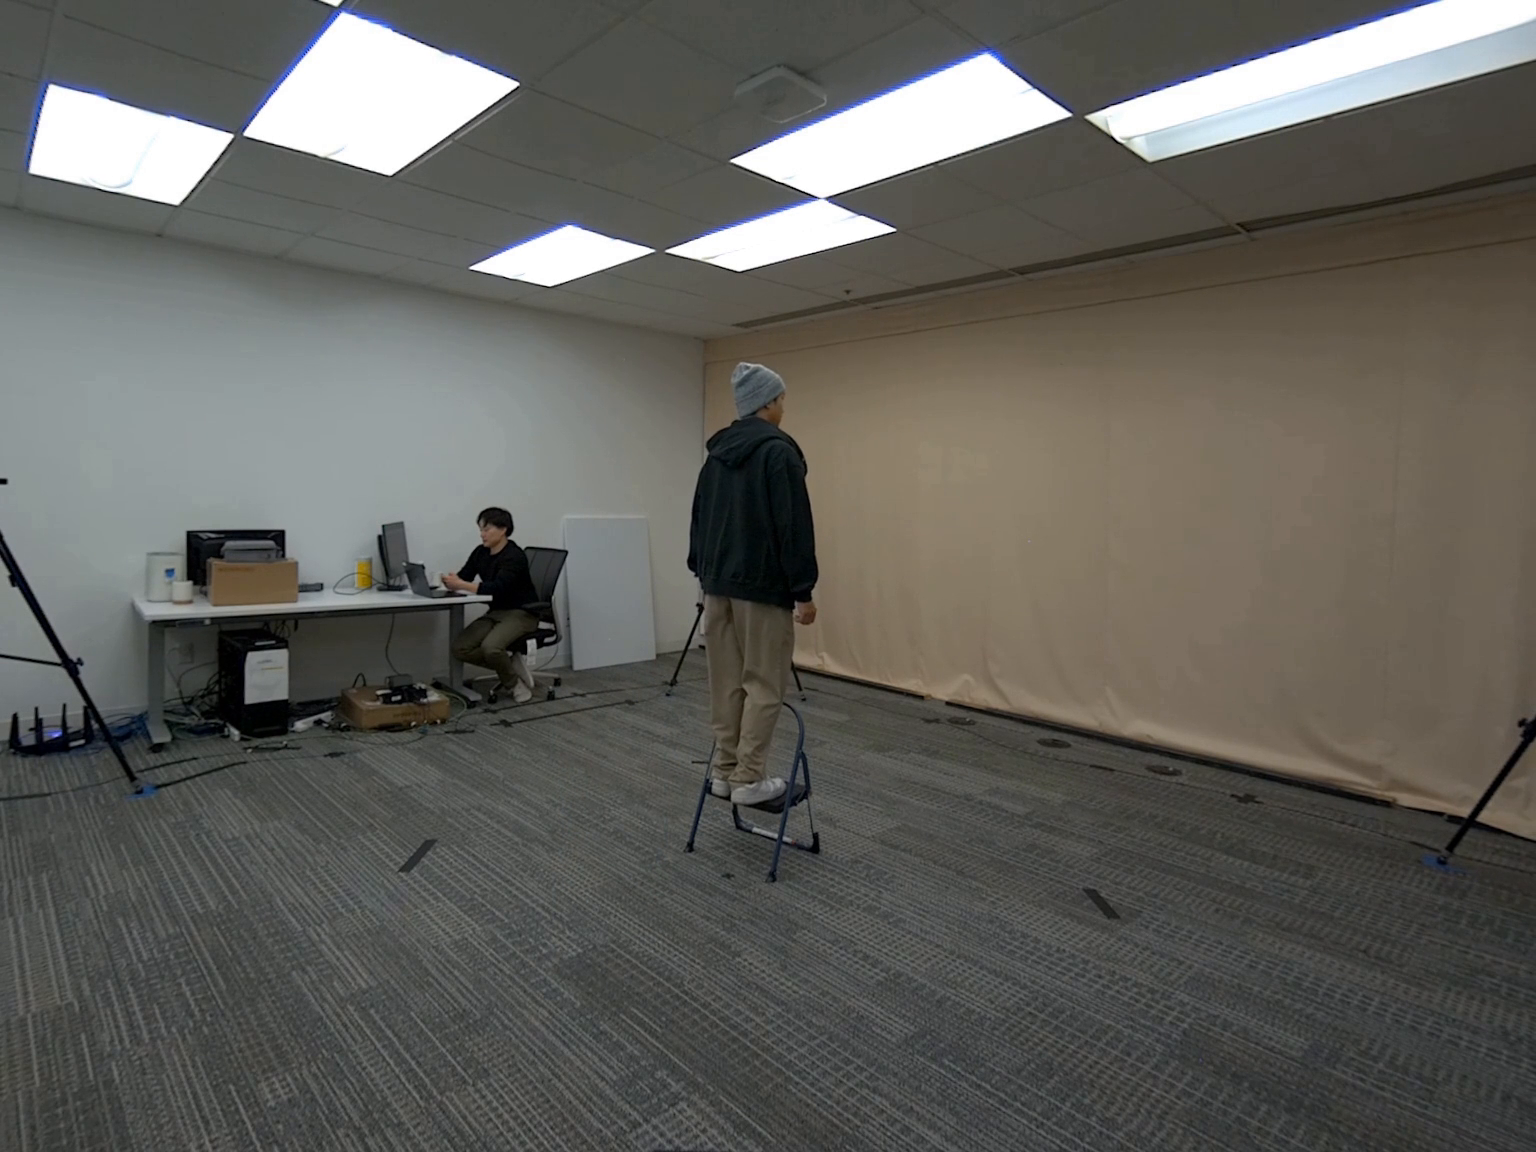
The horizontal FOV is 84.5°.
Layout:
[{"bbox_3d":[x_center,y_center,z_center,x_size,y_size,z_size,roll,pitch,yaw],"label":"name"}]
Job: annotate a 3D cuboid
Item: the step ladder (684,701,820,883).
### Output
[{"bbox_3d":[-0.053,0.791,3.308,0.441,0.605,0.341,4,4,36],"label":"step ladder"}]
